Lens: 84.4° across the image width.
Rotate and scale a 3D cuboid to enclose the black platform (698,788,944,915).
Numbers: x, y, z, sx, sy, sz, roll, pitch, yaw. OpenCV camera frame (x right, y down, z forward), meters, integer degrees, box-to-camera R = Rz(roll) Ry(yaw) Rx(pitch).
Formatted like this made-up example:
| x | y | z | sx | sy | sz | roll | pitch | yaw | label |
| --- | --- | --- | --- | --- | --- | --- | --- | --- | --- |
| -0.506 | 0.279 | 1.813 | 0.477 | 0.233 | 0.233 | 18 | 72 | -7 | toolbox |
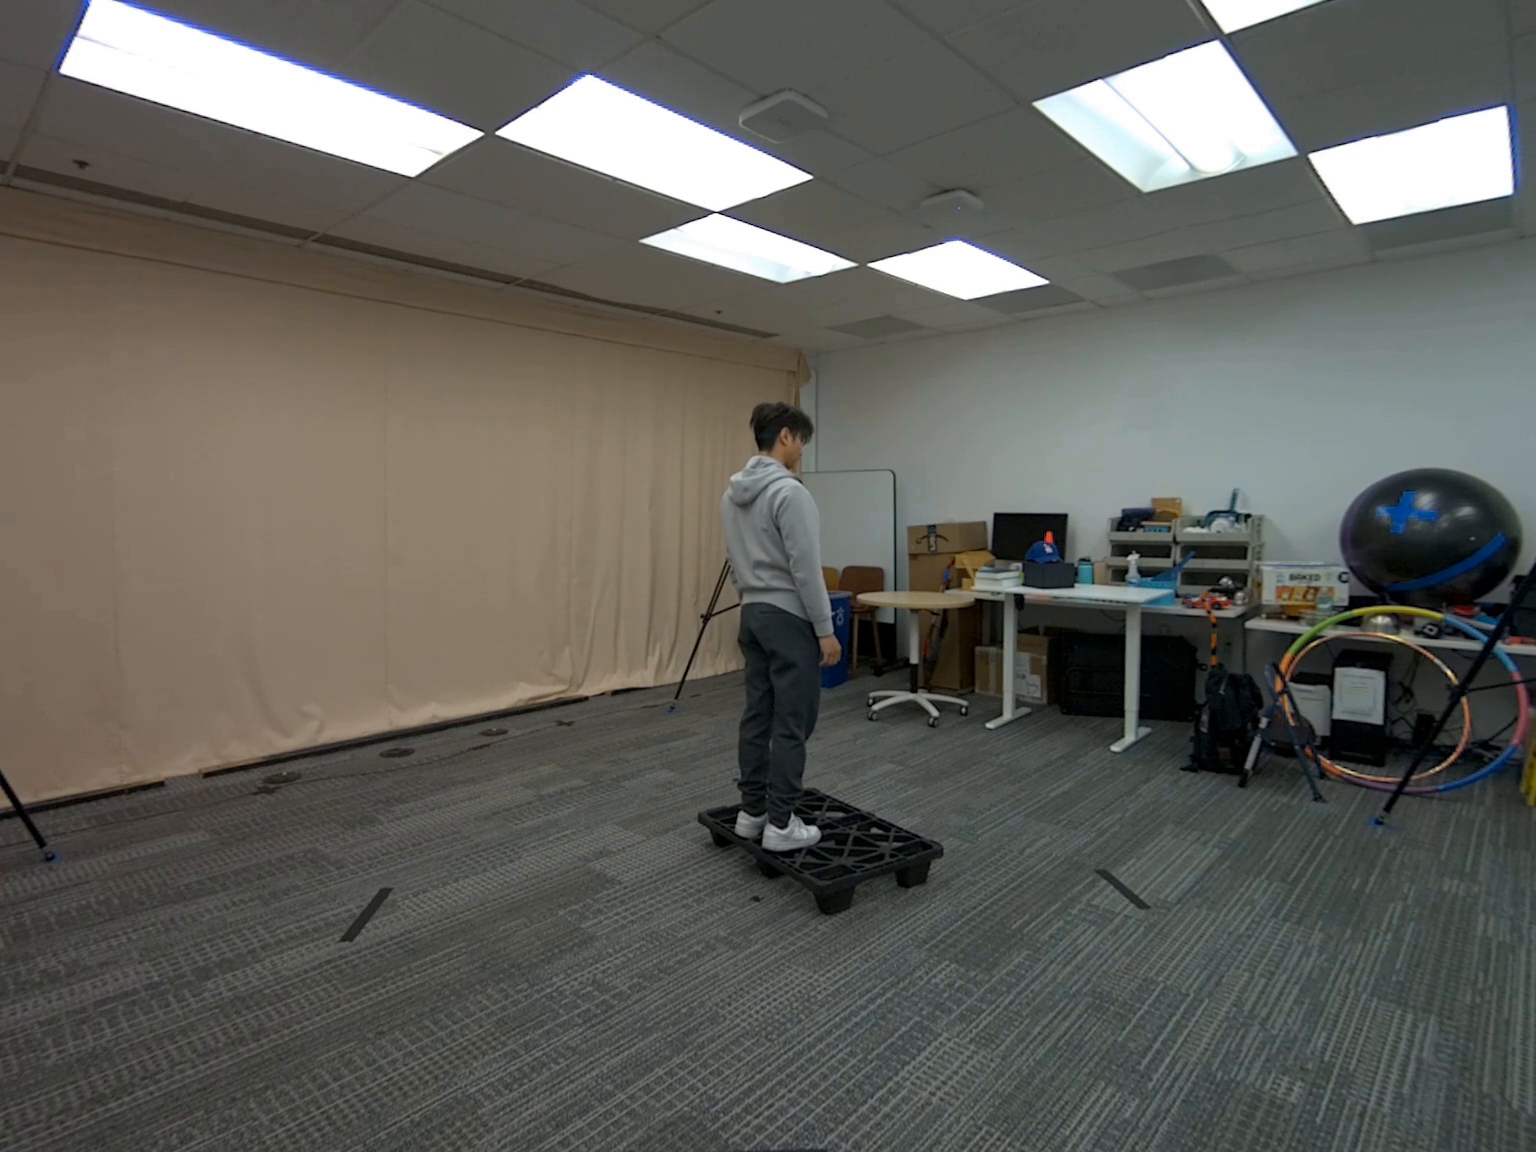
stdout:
| x | y | z | sx | sy | sz | roll | pitch | yaw | label |
| --- | --- | --- | --- | --- | --- | --- | --- | --- | --- |
| 0.180 | 1.052 | 3.278 | 0.588 | 0.143 | 0.831 | -4 | 6 | -34 | black platform |
